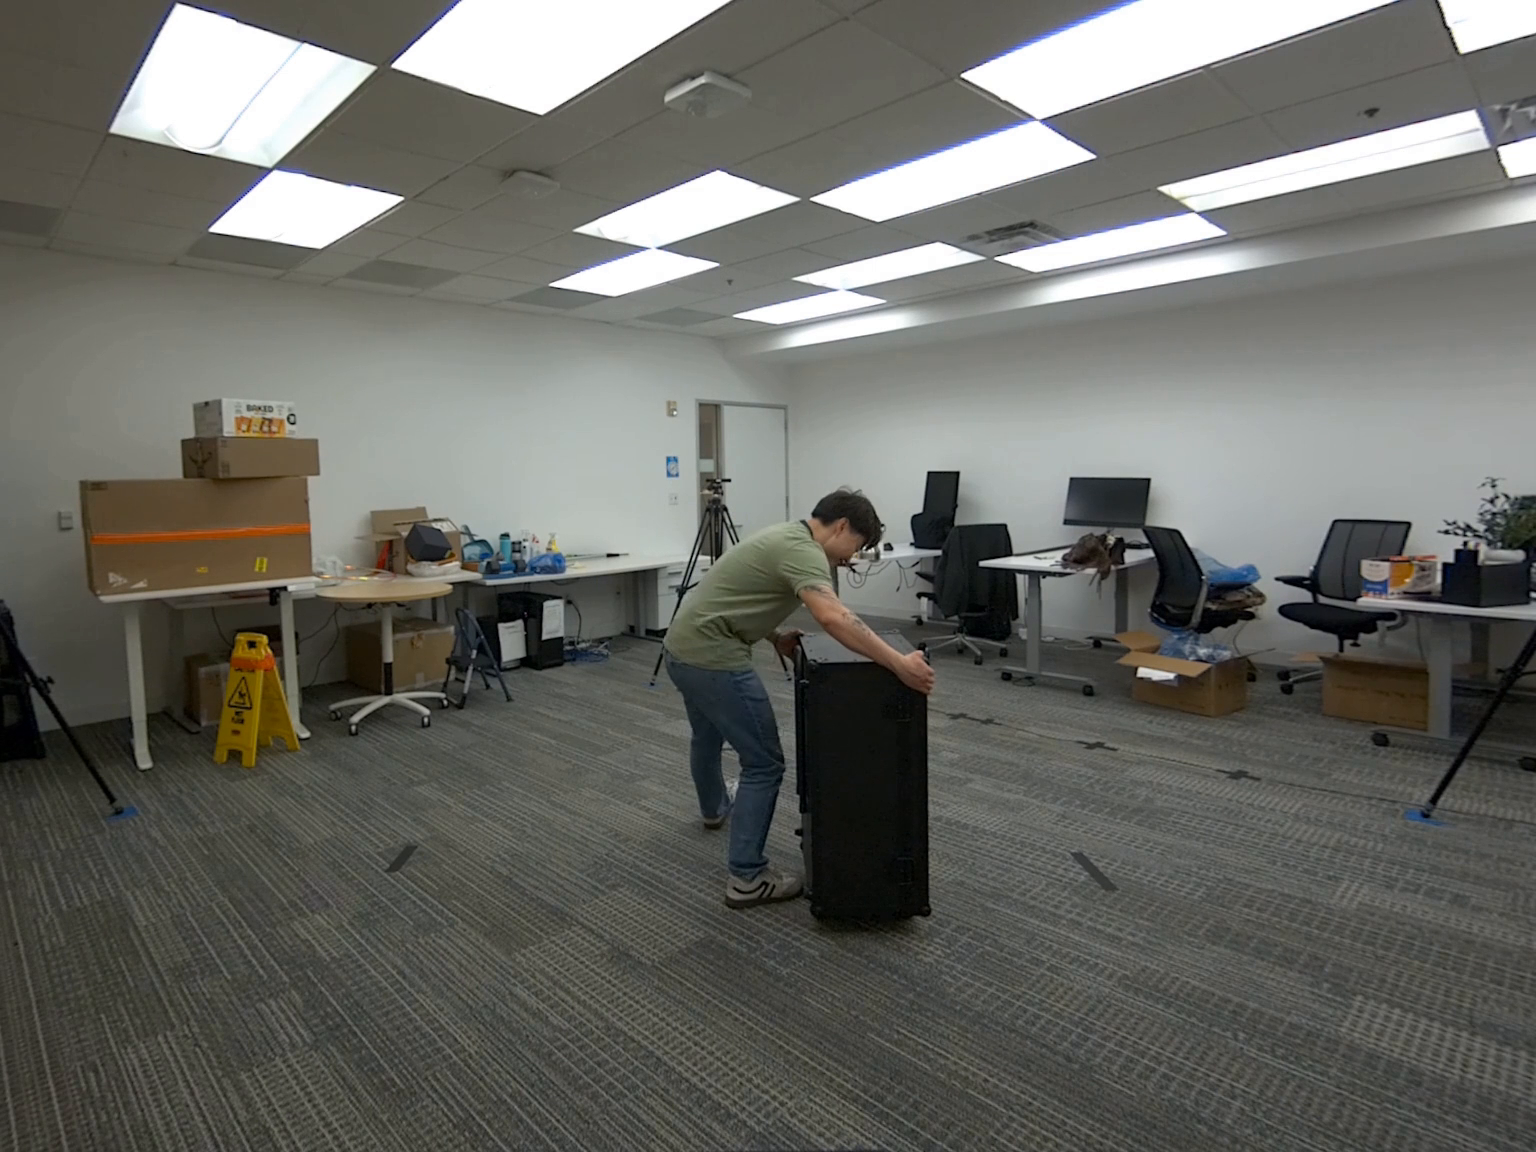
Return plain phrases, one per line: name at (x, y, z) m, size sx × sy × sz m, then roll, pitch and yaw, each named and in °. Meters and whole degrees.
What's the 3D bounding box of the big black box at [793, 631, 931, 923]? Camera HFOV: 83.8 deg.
big black box at (0.294, 0.652, 2.784) m, size 0.397 × 0.858 × 0.522 m, roll -2°, pitch 4°, yaw 1°
